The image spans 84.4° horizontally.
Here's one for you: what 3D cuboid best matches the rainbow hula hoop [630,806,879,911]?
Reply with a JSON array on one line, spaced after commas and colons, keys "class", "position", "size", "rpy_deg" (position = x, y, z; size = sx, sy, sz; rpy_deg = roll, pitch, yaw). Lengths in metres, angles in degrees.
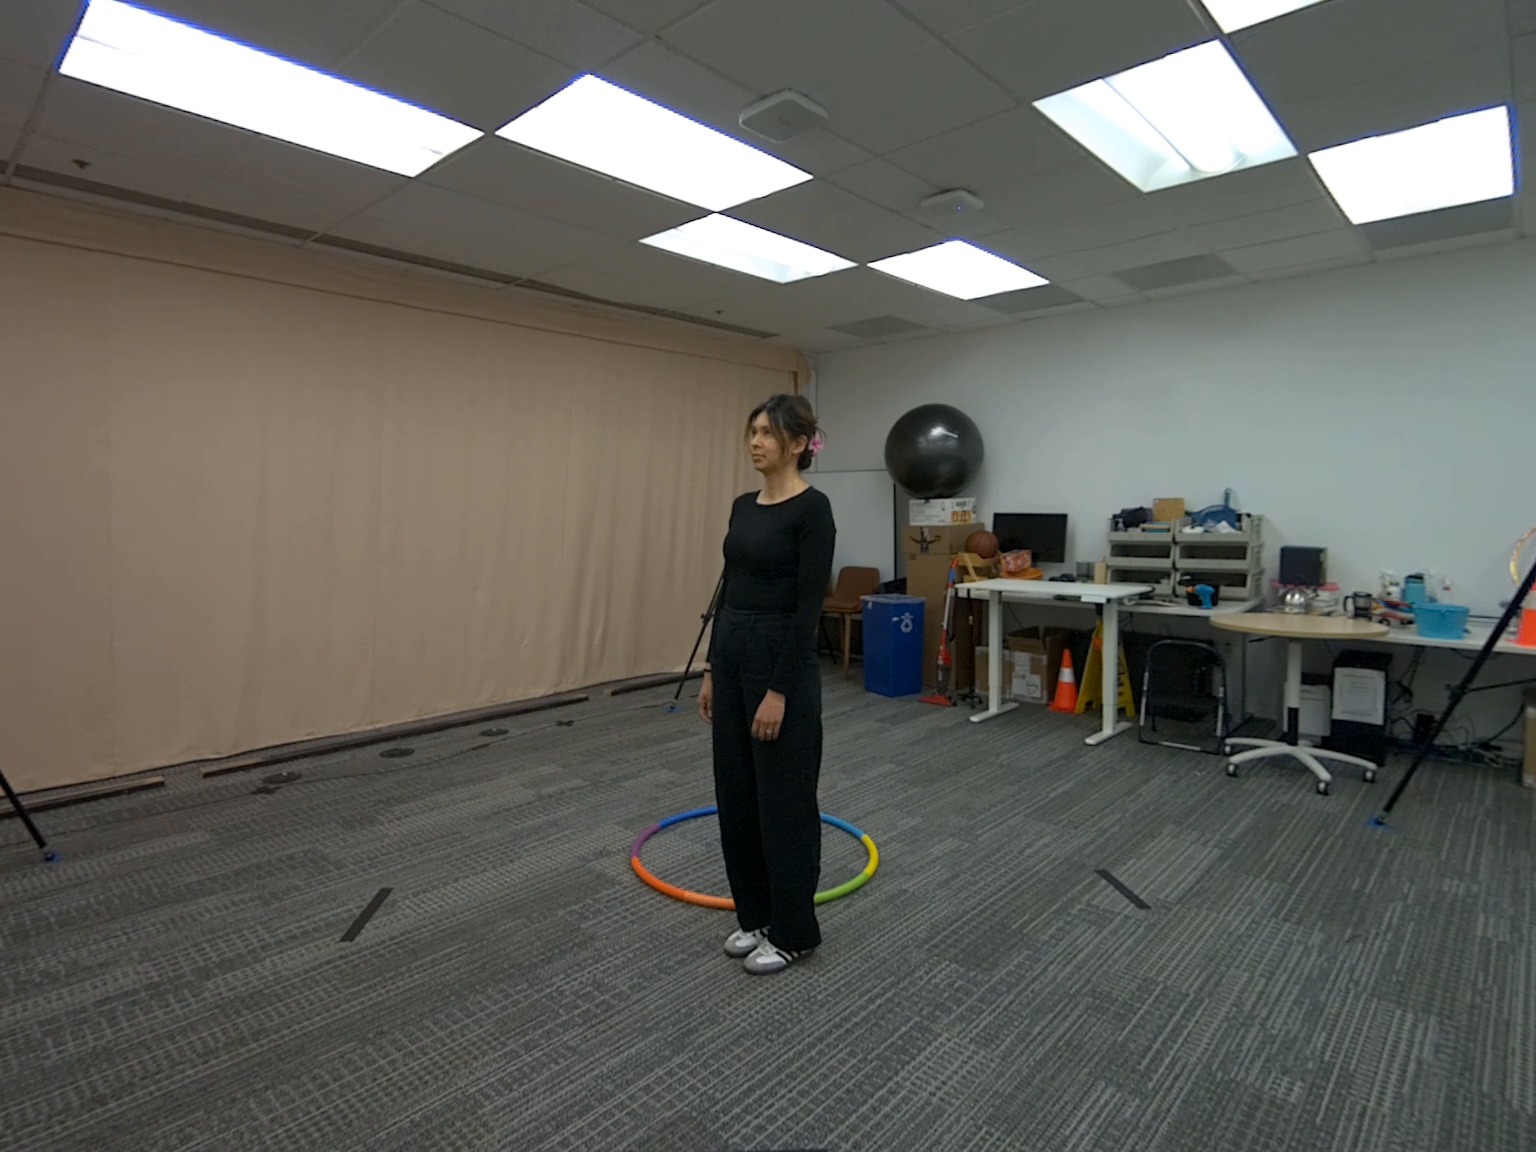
[{"class": "rainbow hula hoop", "position": [-0.057, 1.080, 3.372], "size": [0.978, 0.035, 0.982], "rpy_deg": [0, 5, -2]}]
